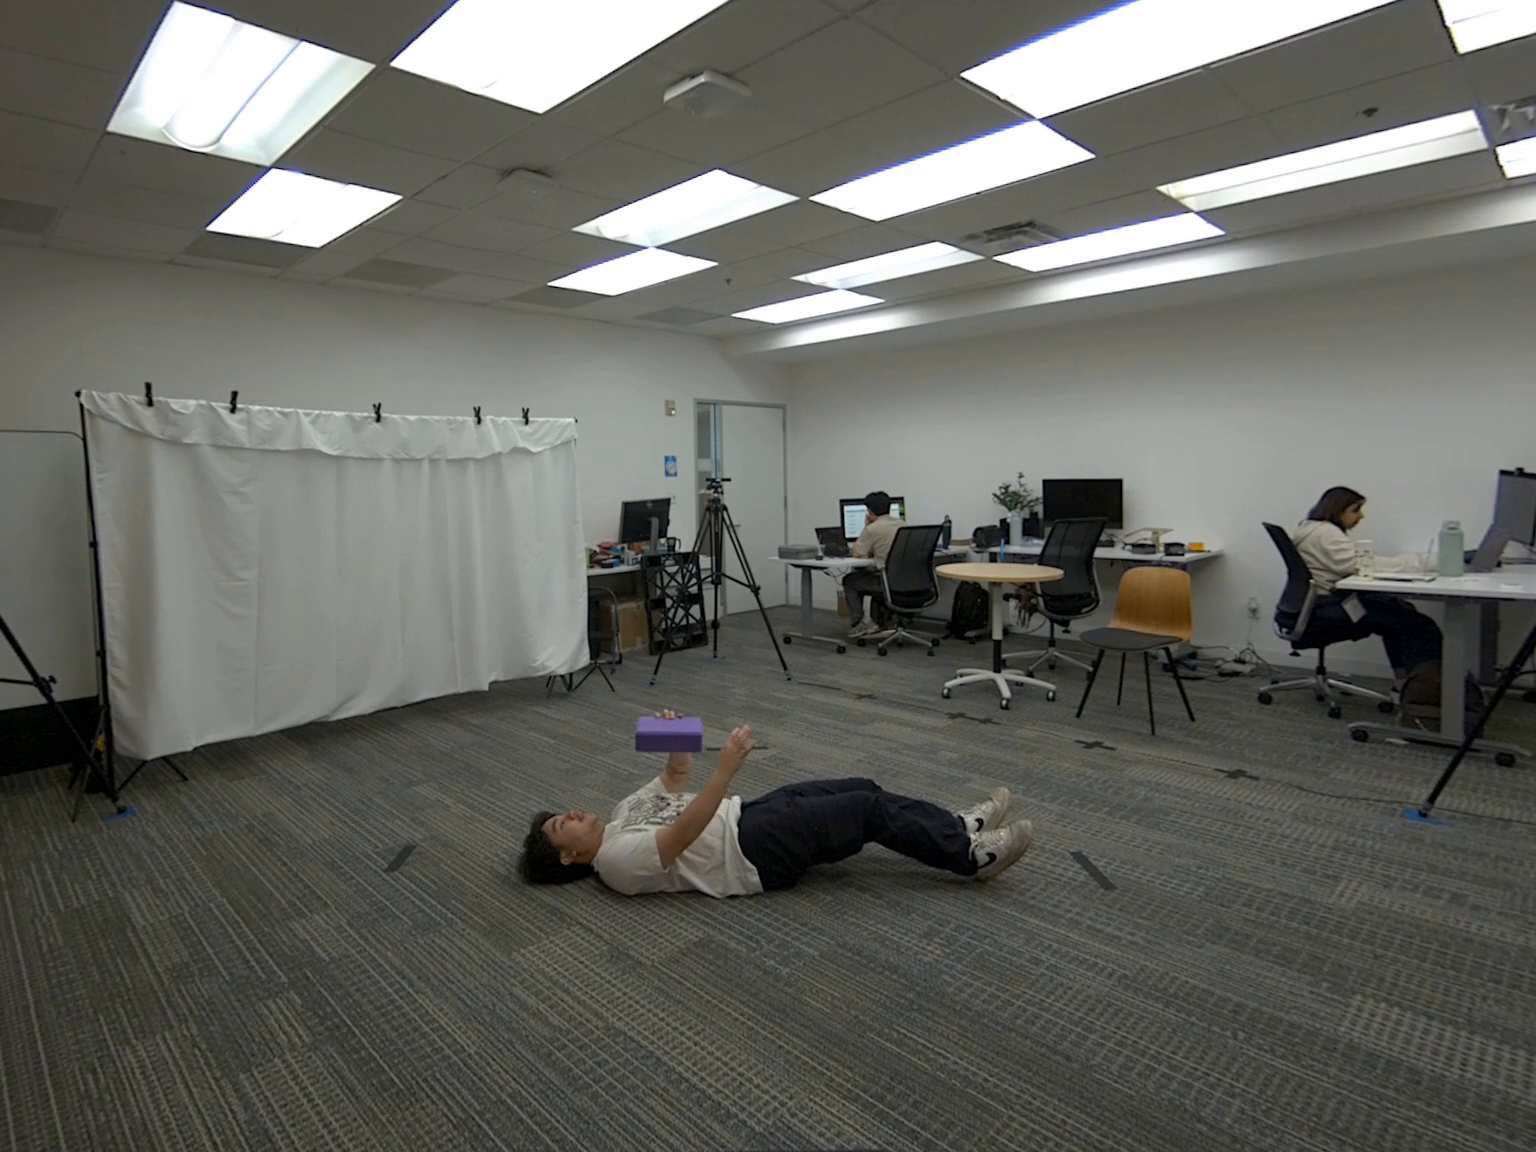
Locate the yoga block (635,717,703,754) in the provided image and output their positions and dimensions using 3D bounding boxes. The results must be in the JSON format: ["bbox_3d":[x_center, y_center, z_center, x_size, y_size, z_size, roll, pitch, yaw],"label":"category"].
[{"bbox_3d":[-0.343,0.559,2.970,0.229,0.076,0.150,2,10,-2],"label":"yoga block"}]
